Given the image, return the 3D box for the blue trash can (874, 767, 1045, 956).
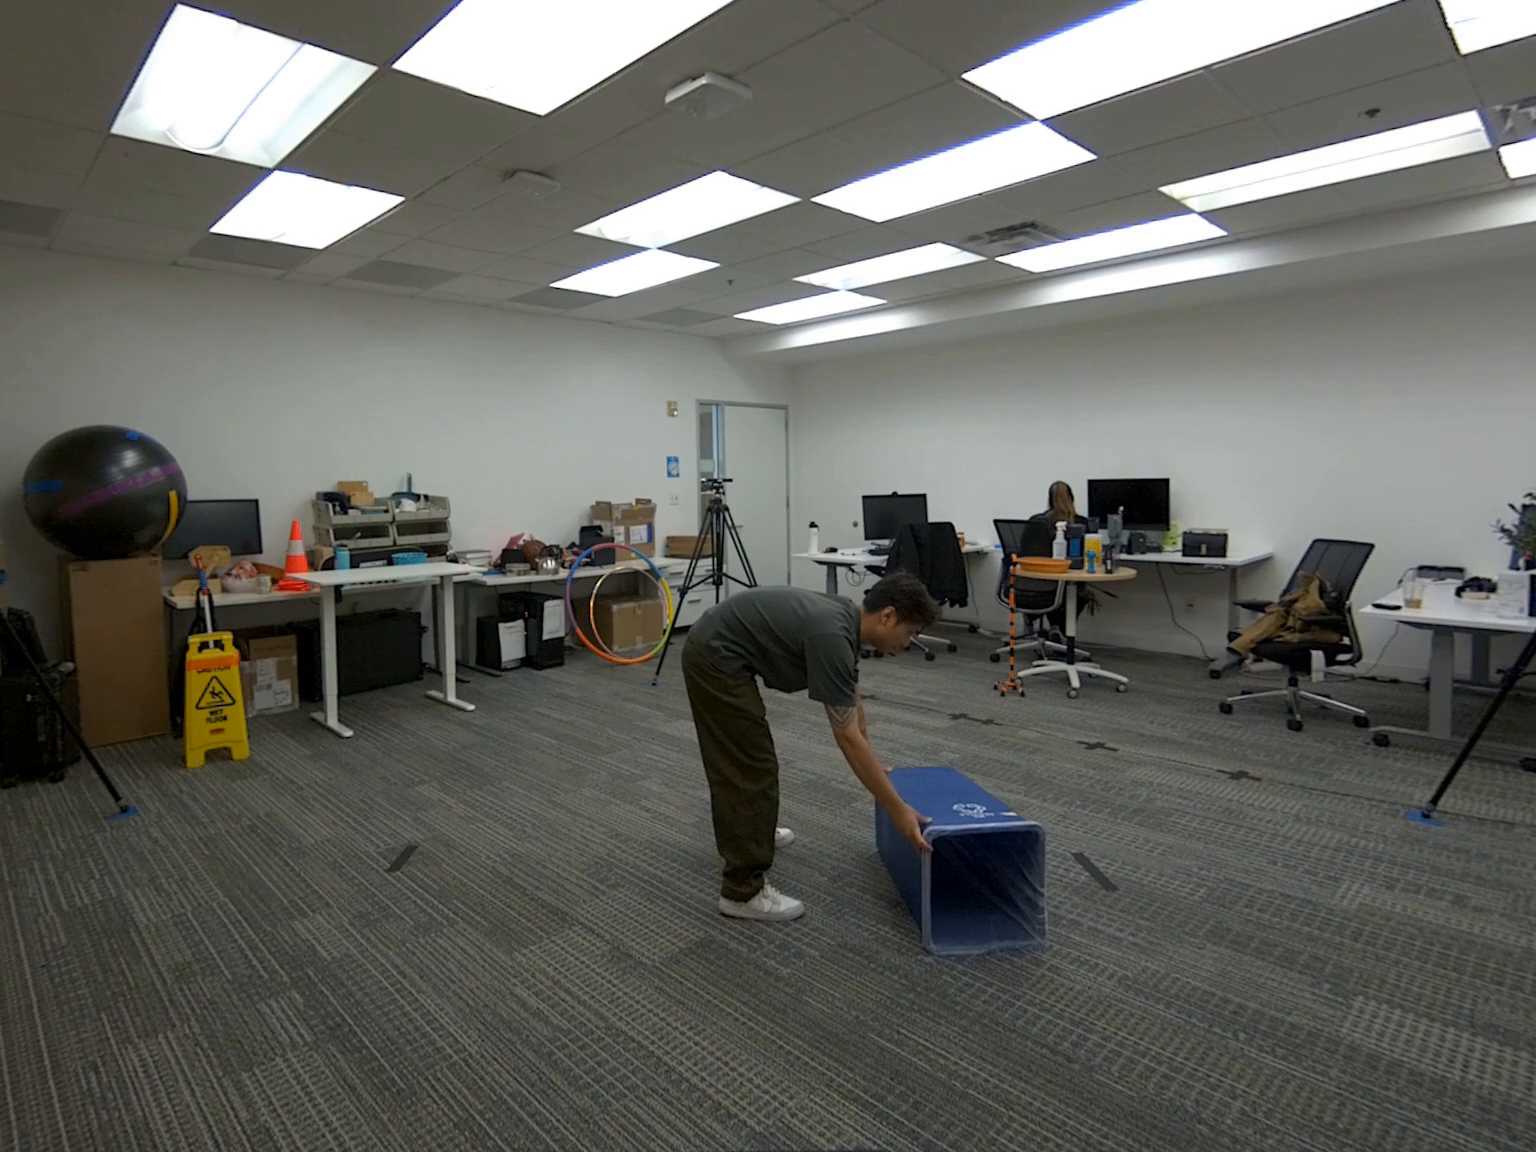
[{"bbox_3d":[0.592,0.885,2.855,0.376,0.373,0.720,-3,5,-7],"label":"blue trash can"}]
